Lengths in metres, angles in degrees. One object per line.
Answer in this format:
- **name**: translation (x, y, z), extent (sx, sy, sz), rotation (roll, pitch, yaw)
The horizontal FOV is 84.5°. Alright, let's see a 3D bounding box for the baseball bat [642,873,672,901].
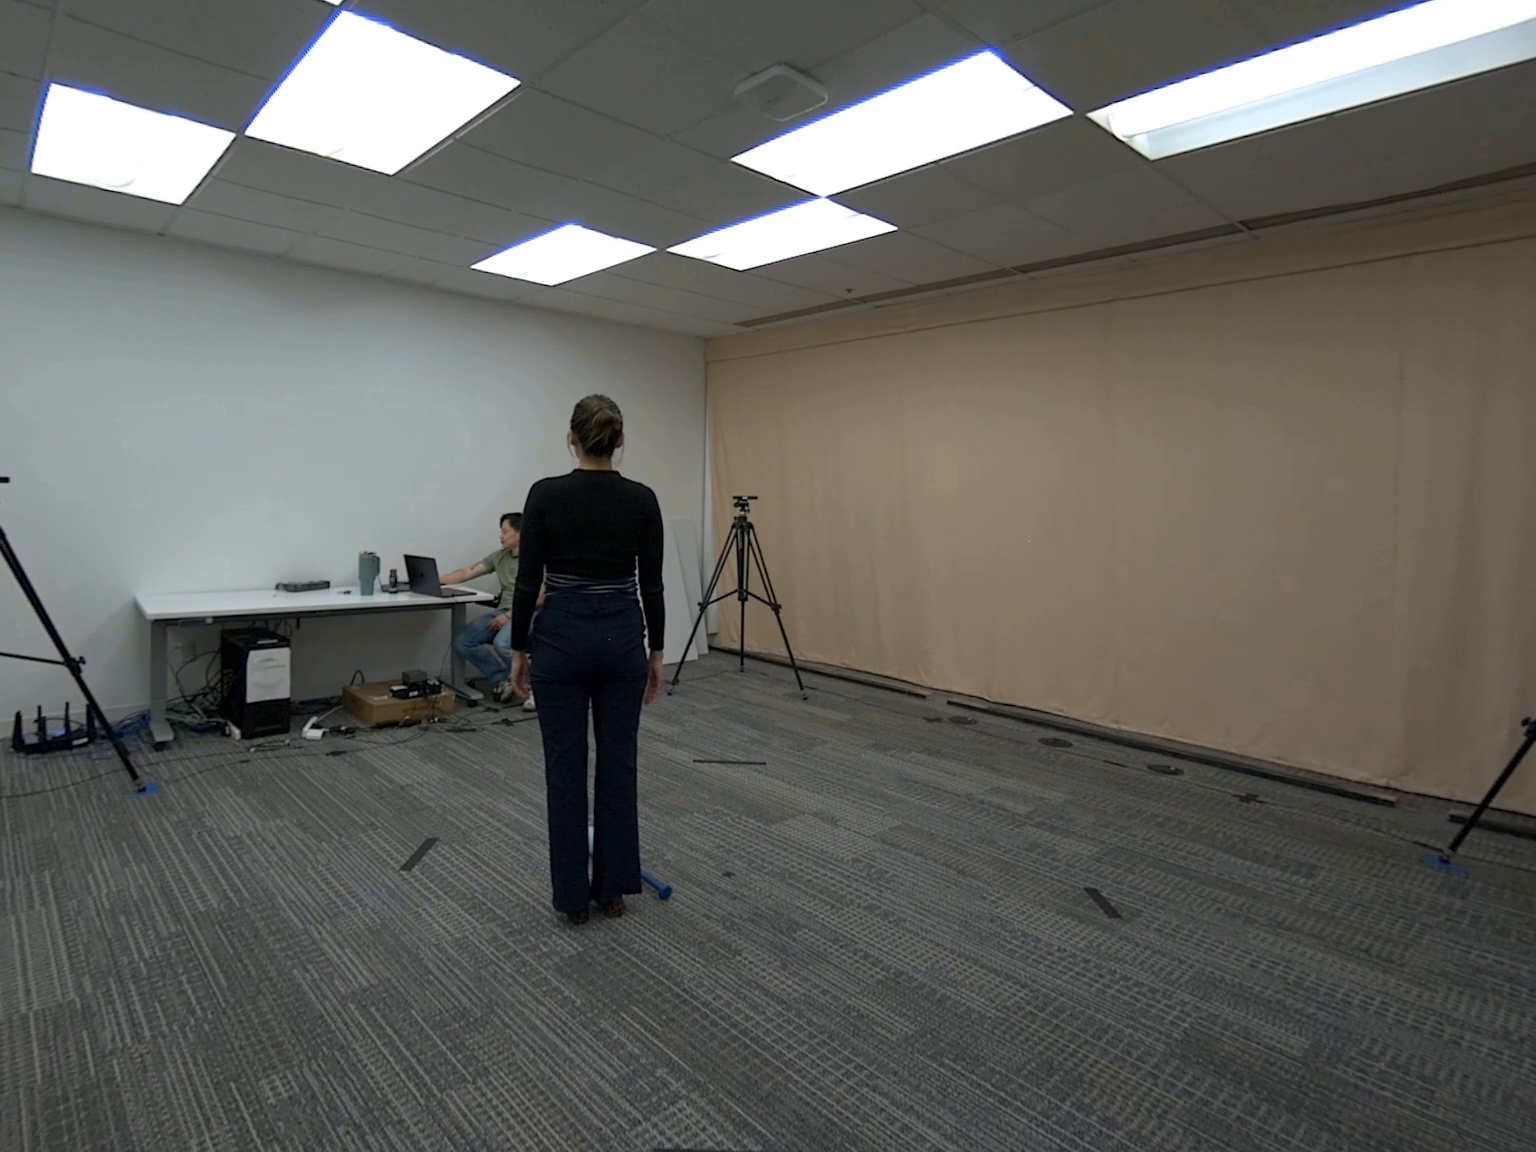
- **baseball bat**: translation (-0.537, 1.066, 3.099), extent (0.087, 0.088, 0.558), rotation (-2, 10, -41)
